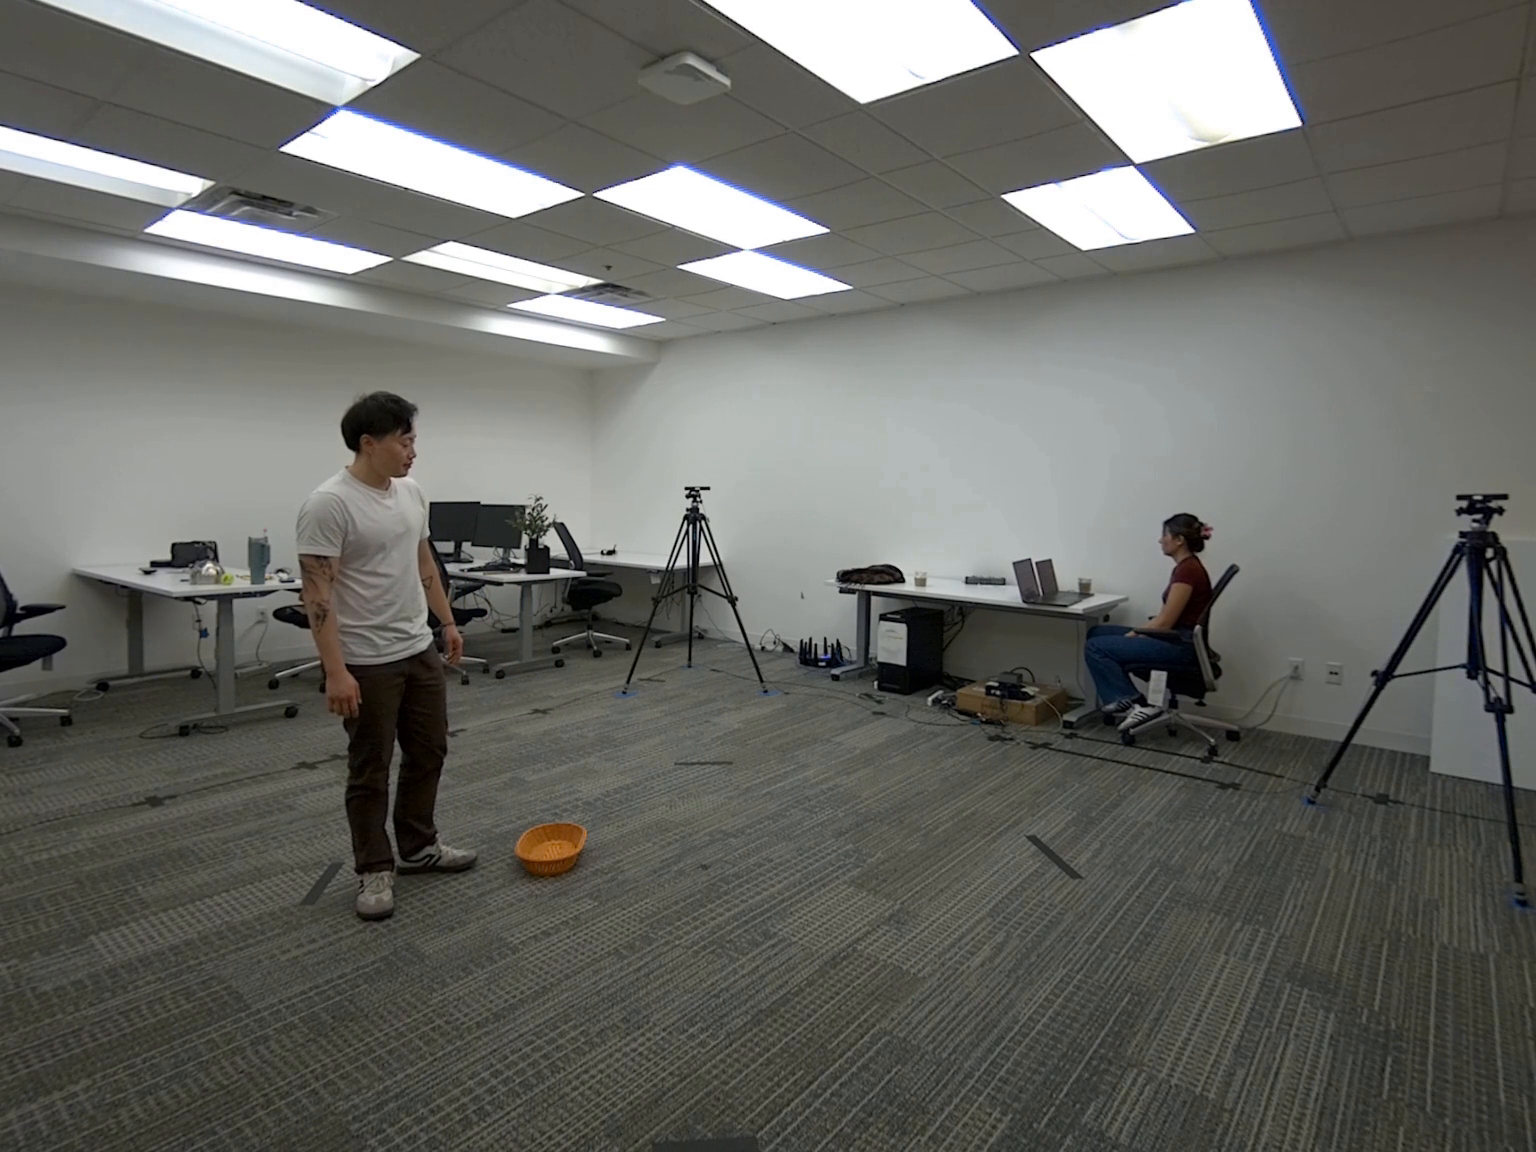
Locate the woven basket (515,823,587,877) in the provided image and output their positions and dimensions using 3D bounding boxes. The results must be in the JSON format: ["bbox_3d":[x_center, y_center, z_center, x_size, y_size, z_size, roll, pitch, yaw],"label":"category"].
[{"bbox_3d":[-0.816,1.014,3.161,0.252,0.073,0.352,0,5,-1],"label":"woven basket"}]
